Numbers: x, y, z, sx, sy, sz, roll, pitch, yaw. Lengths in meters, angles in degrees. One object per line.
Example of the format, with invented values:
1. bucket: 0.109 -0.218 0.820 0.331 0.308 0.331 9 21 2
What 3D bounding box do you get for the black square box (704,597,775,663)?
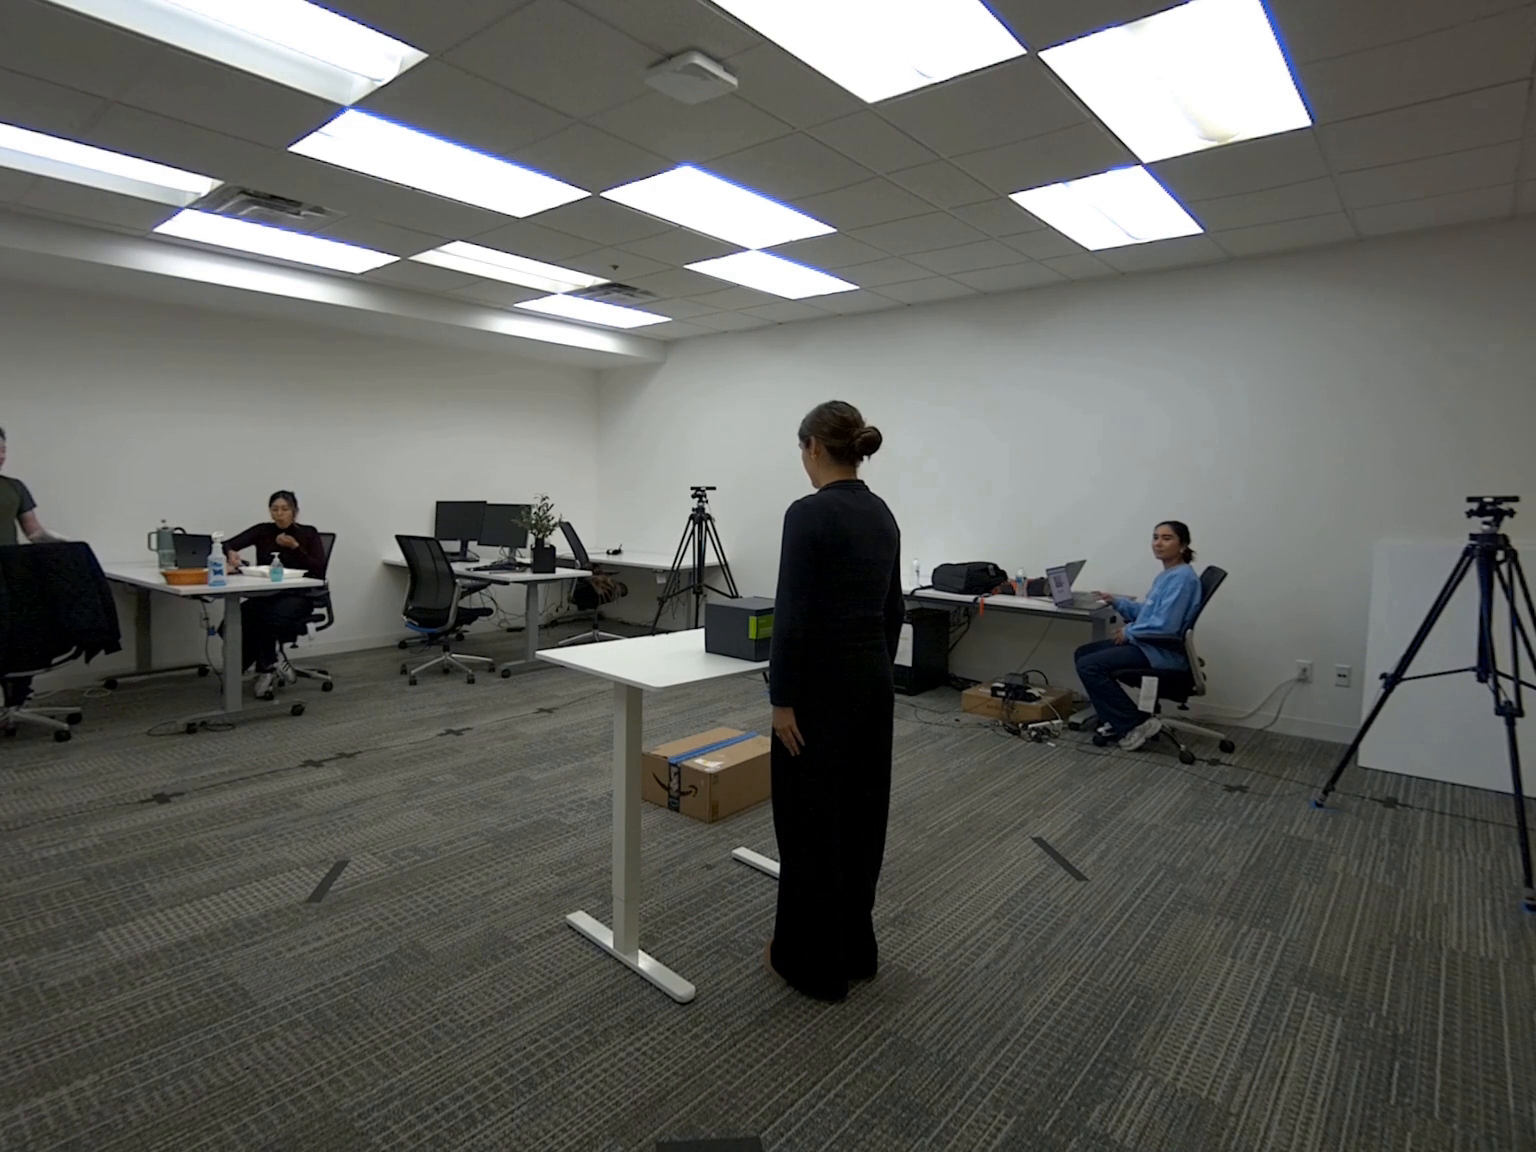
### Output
1. black square box: -0.052 0.156 2.610 0.224 0.155 0.221 5 7 41
